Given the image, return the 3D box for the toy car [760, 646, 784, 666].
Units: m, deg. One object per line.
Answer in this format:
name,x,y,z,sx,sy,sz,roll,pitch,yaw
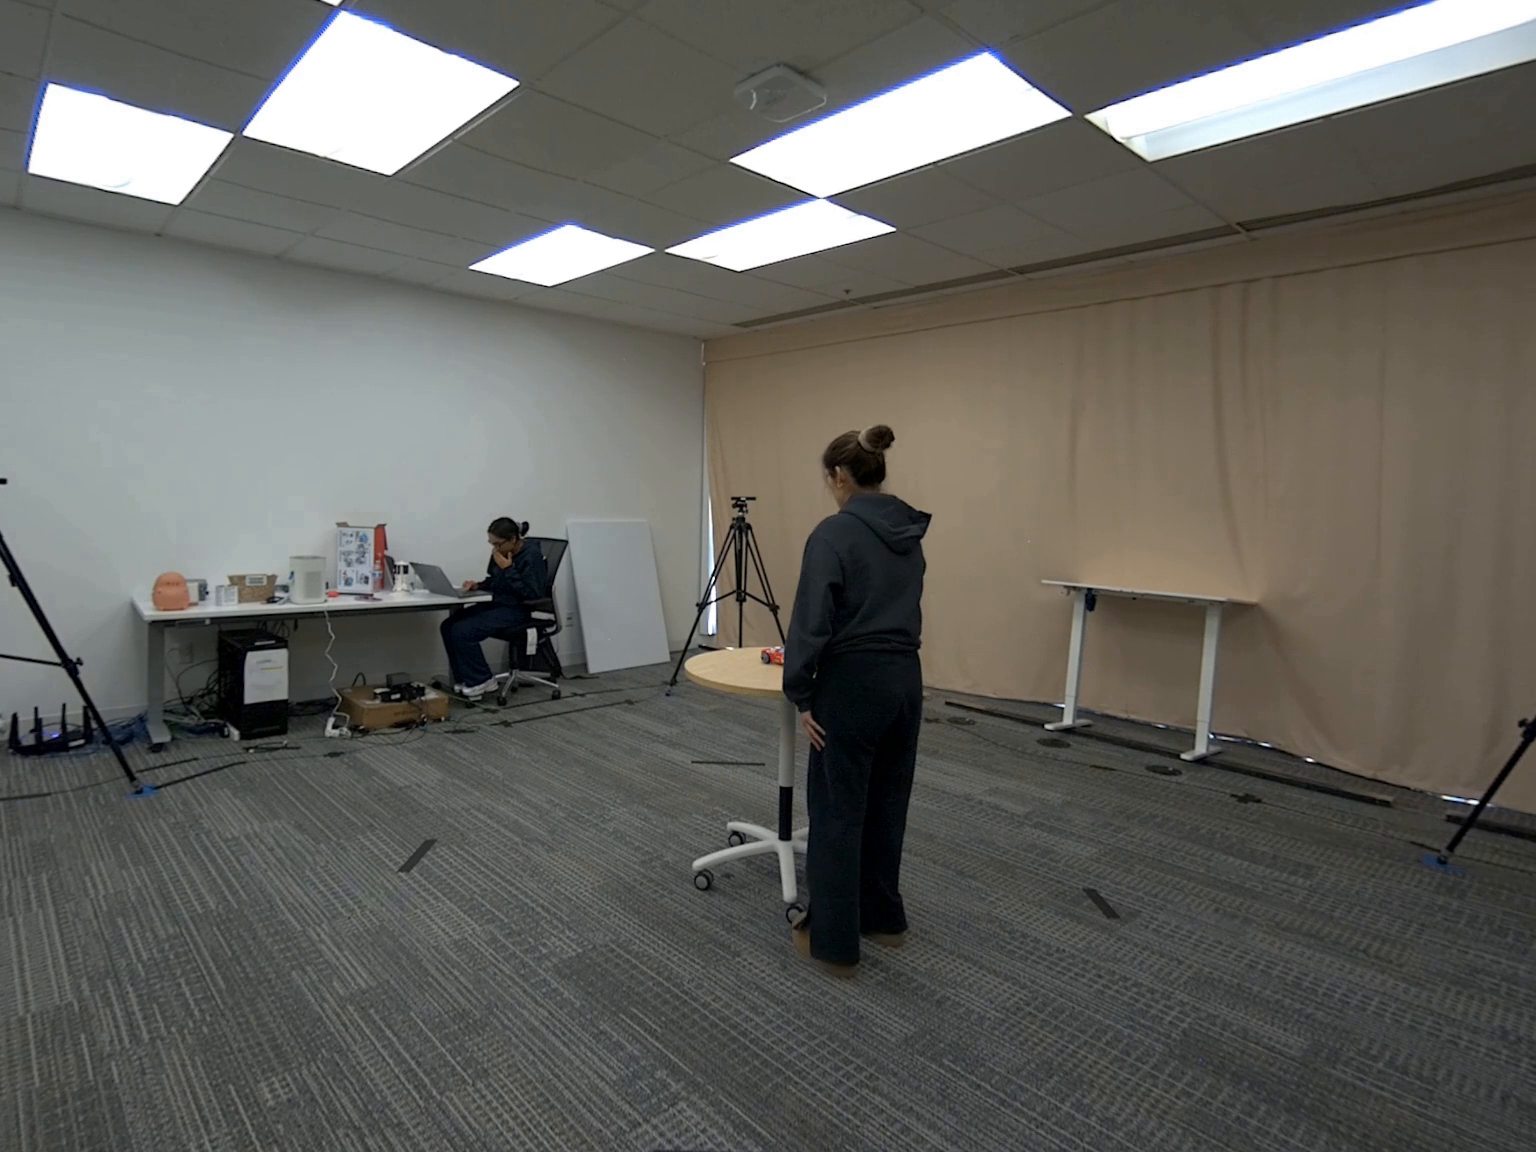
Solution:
toy car,0.090,0.301,3.089,0.127,0.083,0.260,-4,-3,-44
